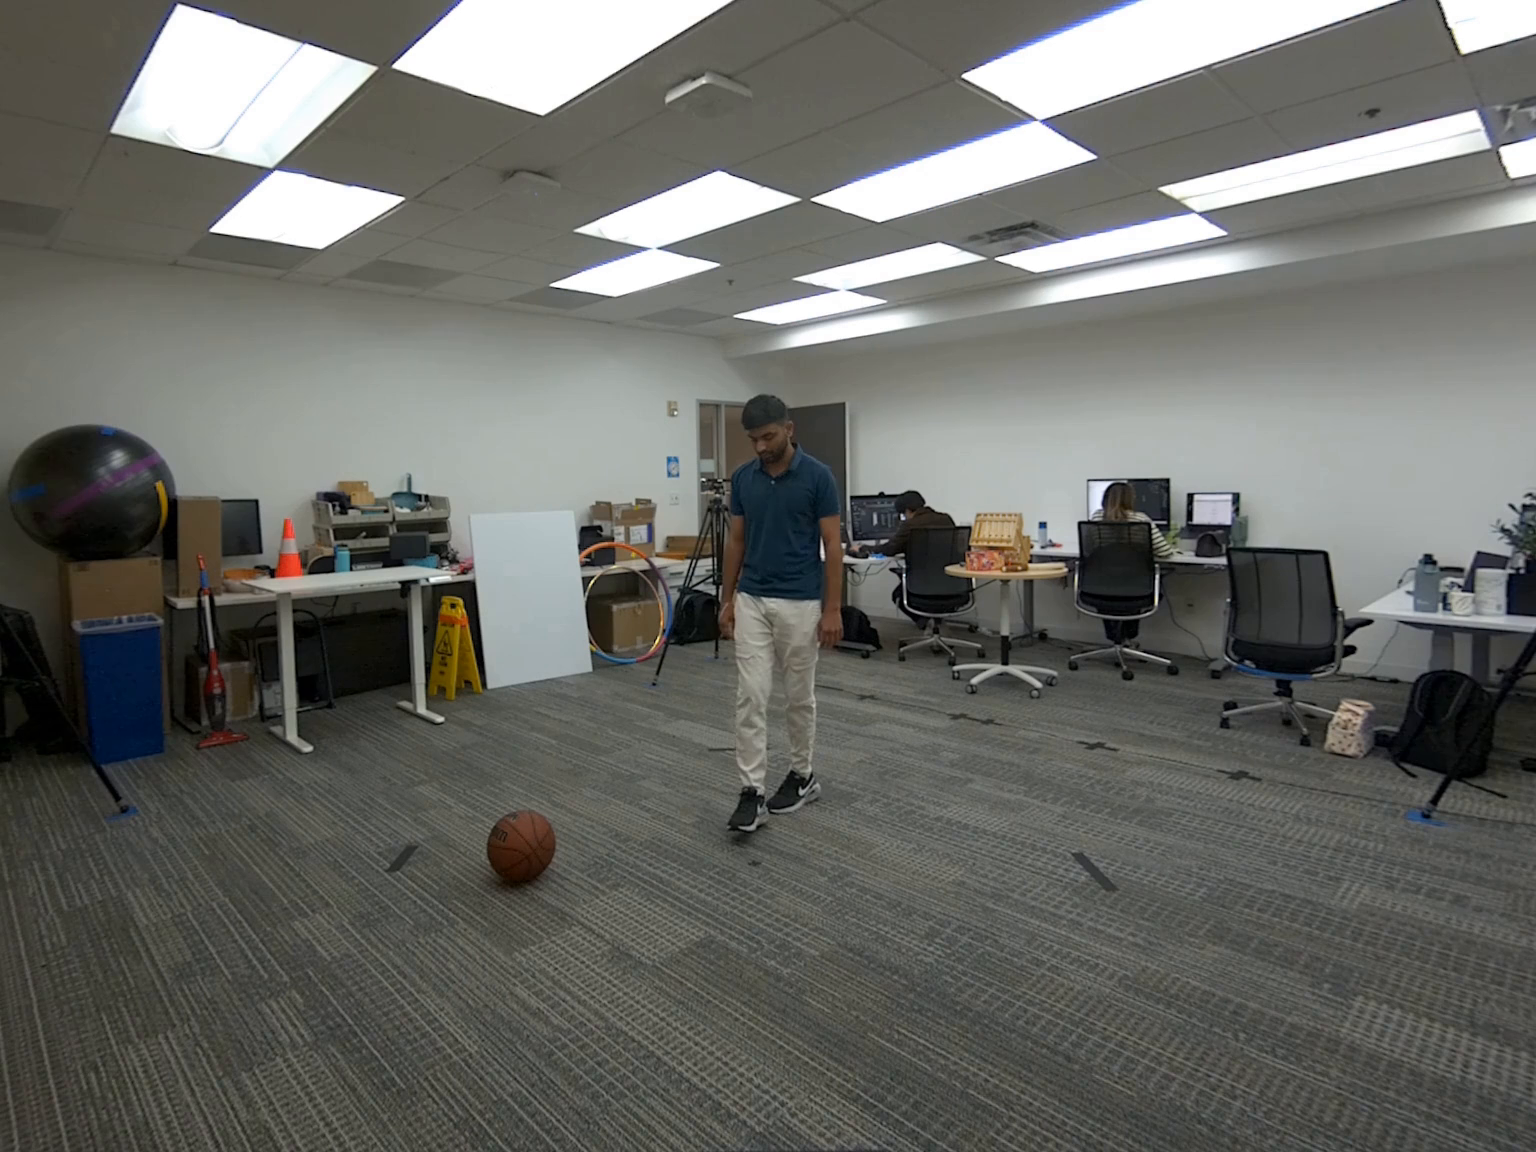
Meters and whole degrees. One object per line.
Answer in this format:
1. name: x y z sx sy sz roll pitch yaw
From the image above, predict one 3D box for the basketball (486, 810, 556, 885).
1. basketball: -0.873 0.954 3.017 0.236 0.235 0.237 -1 5 -2
